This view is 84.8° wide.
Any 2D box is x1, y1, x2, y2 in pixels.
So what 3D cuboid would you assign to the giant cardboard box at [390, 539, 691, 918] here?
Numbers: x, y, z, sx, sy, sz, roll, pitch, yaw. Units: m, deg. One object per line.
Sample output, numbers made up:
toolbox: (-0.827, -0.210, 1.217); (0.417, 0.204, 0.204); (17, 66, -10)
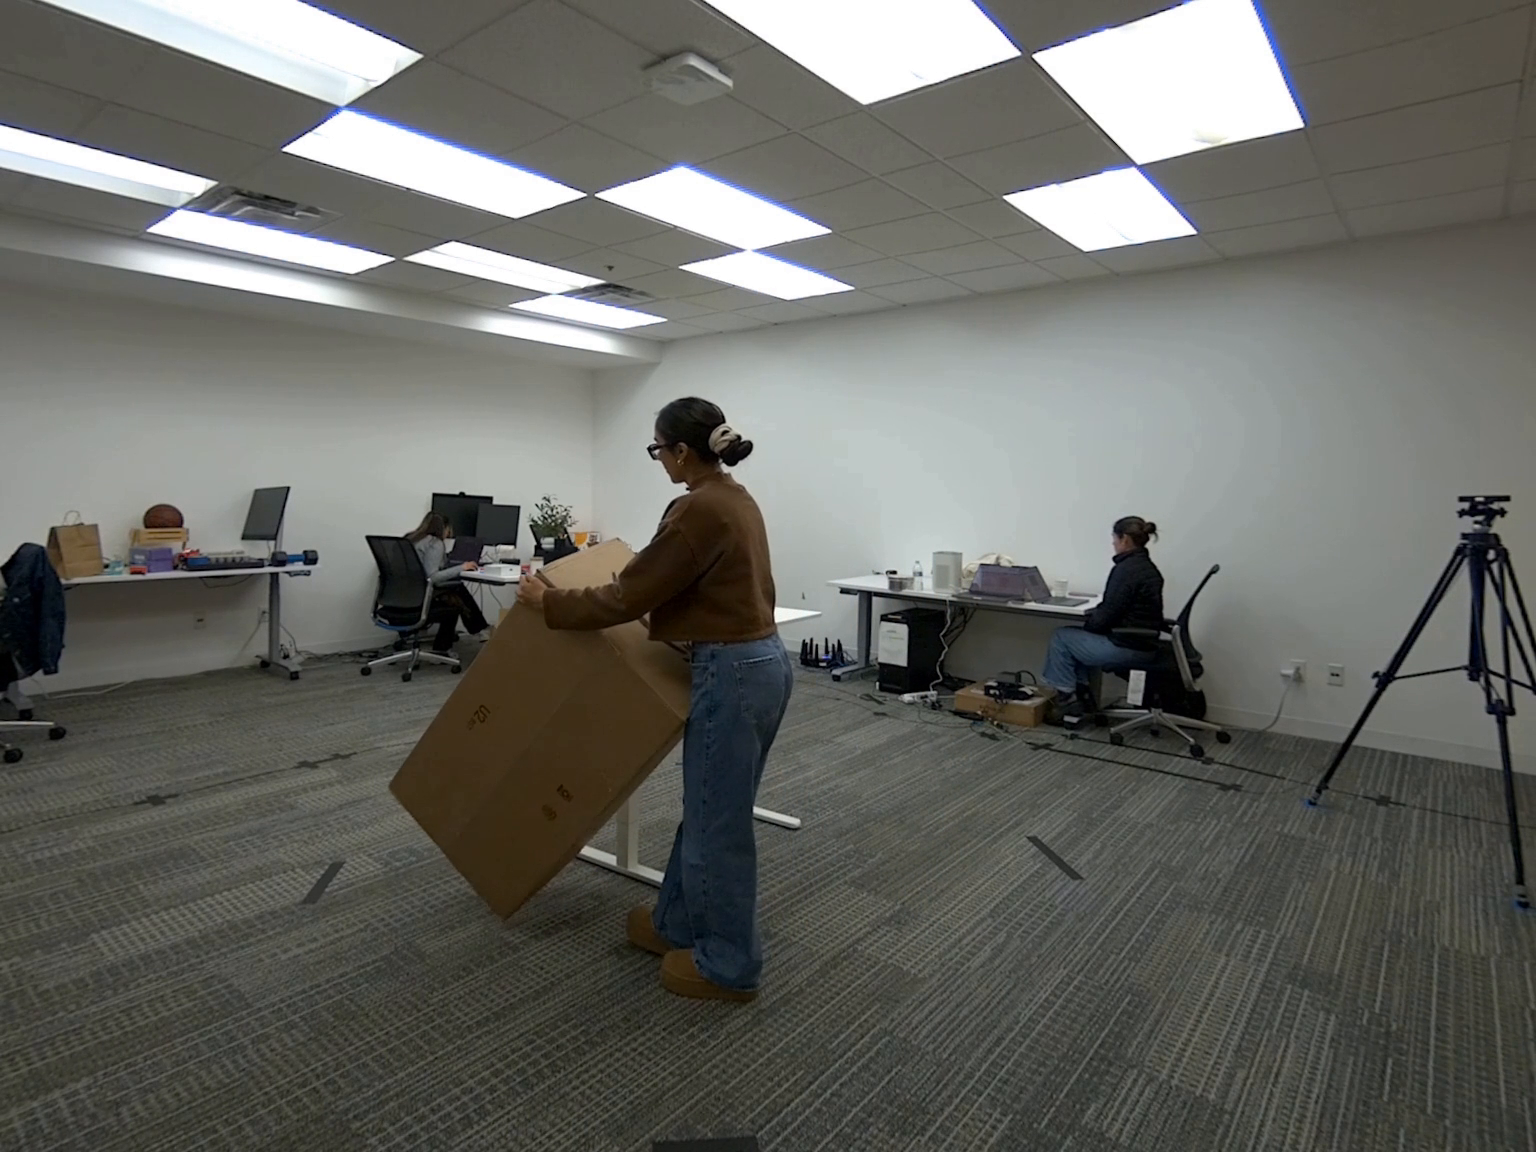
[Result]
giant cardboard box: (-0.662, 0.475, 2.649); (0.586, 1.024, 0.421); (45, 25, 9)
